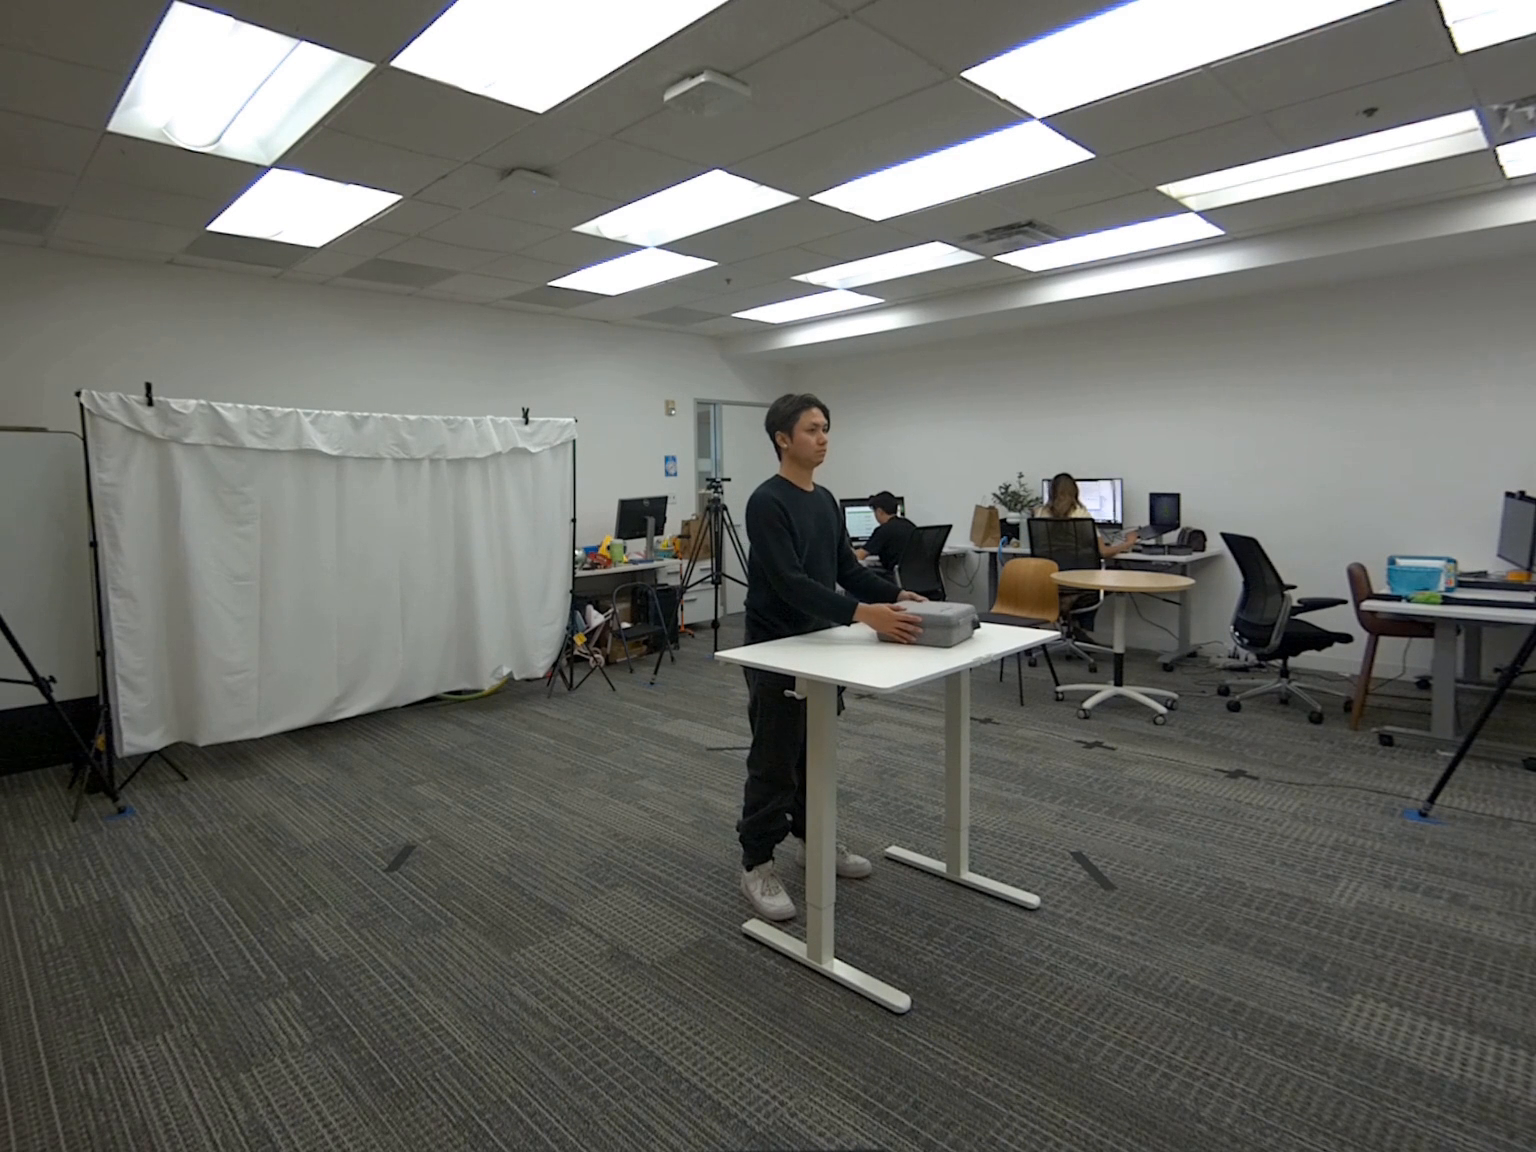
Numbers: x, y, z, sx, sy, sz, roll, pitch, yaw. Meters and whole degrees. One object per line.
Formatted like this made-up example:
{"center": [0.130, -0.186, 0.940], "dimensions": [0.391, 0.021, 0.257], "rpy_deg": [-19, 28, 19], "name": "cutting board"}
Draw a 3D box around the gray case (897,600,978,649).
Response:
{"center": [0.497, 0.147, 2.684], "dimensions": [0.268, 0.104, 0.251], "rpy_deg": [4, 8, 35], "name": "gray case"}
